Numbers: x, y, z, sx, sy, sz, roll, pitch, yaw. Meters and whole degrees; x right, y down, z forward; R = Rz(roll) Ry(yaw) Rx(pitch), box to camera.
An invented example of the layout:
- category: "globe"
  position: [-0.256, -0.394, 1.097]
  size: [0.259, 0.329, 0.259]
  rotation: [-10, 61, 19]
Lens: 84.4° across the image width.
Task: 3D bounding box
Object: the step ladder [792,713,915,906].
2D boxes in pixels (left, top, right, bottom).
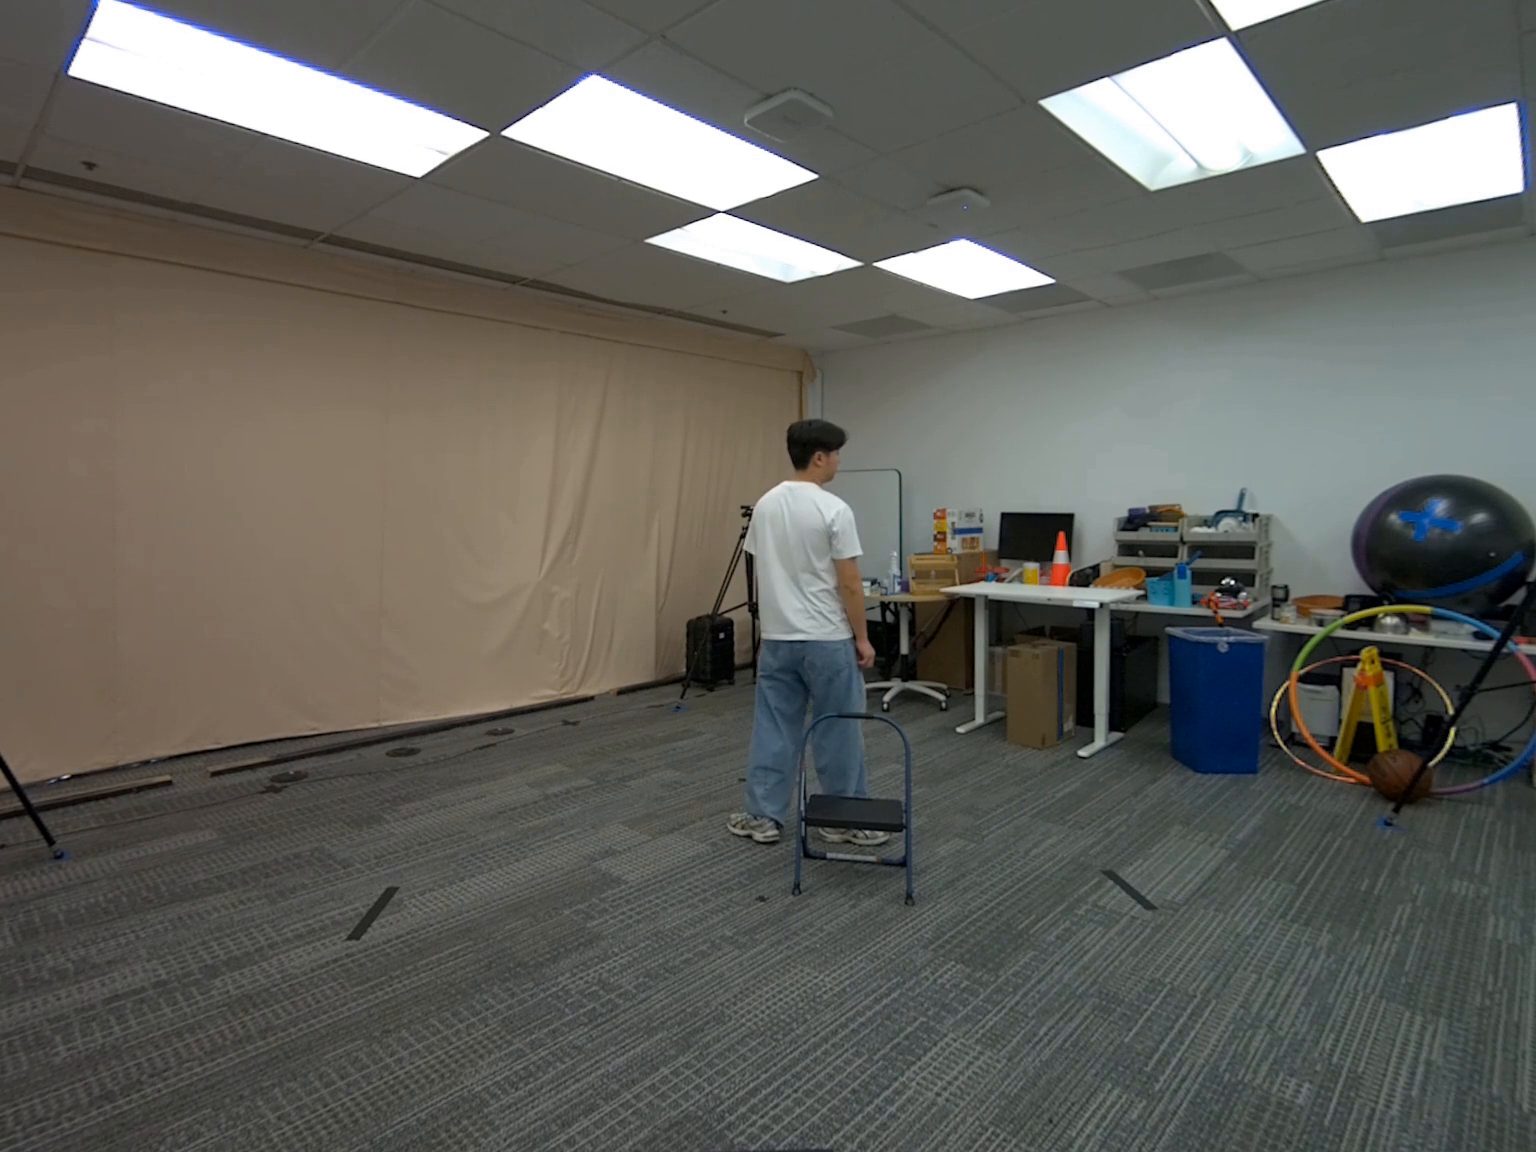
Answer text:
- category: "step ladder"
  position: [0.330, 0.826, 3.126]
  size: [0.436, 0.605, 0.346]
  rotation: [0, 3, 10]
